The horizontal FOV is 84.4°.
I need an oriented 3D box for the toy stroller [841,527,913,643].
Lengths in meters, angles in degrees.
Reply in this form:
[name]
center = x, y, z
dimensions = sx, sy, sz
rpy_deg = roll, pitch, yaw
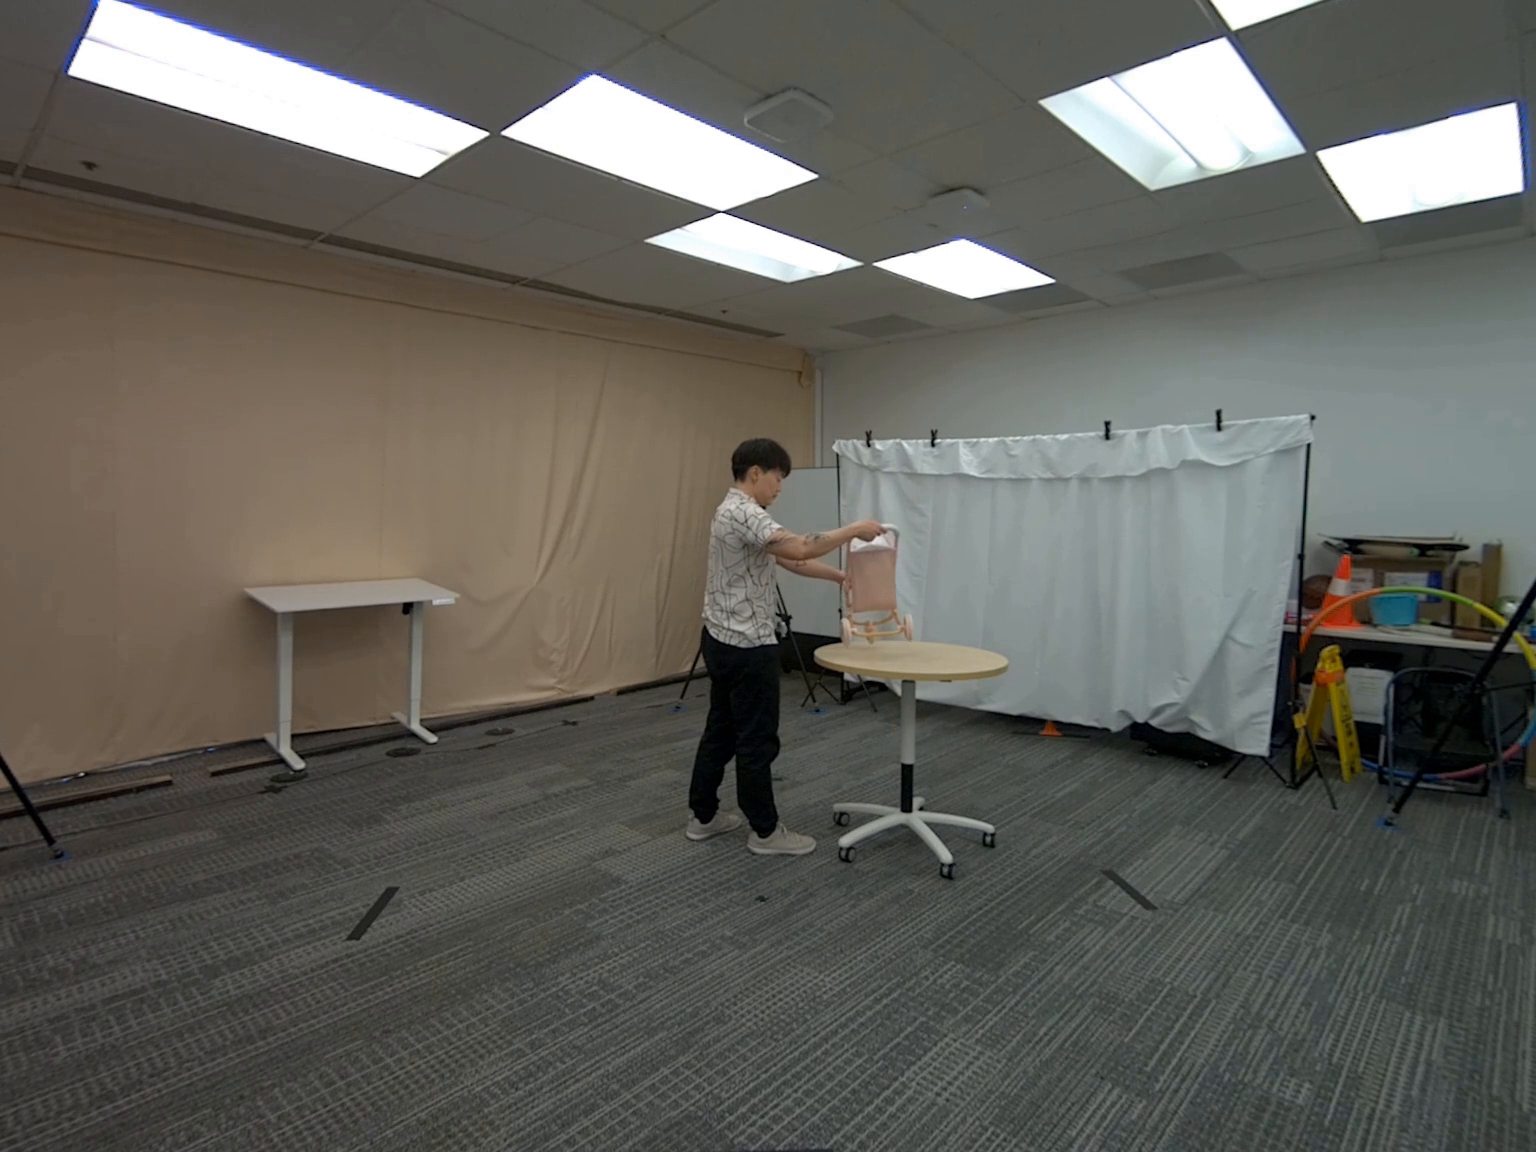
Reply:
[toy stroller]
center = 0.423, 0.042, 3.414
dimensions = 0.283, 0.532, 0.341
rpy_deg = -4, 8, 5
